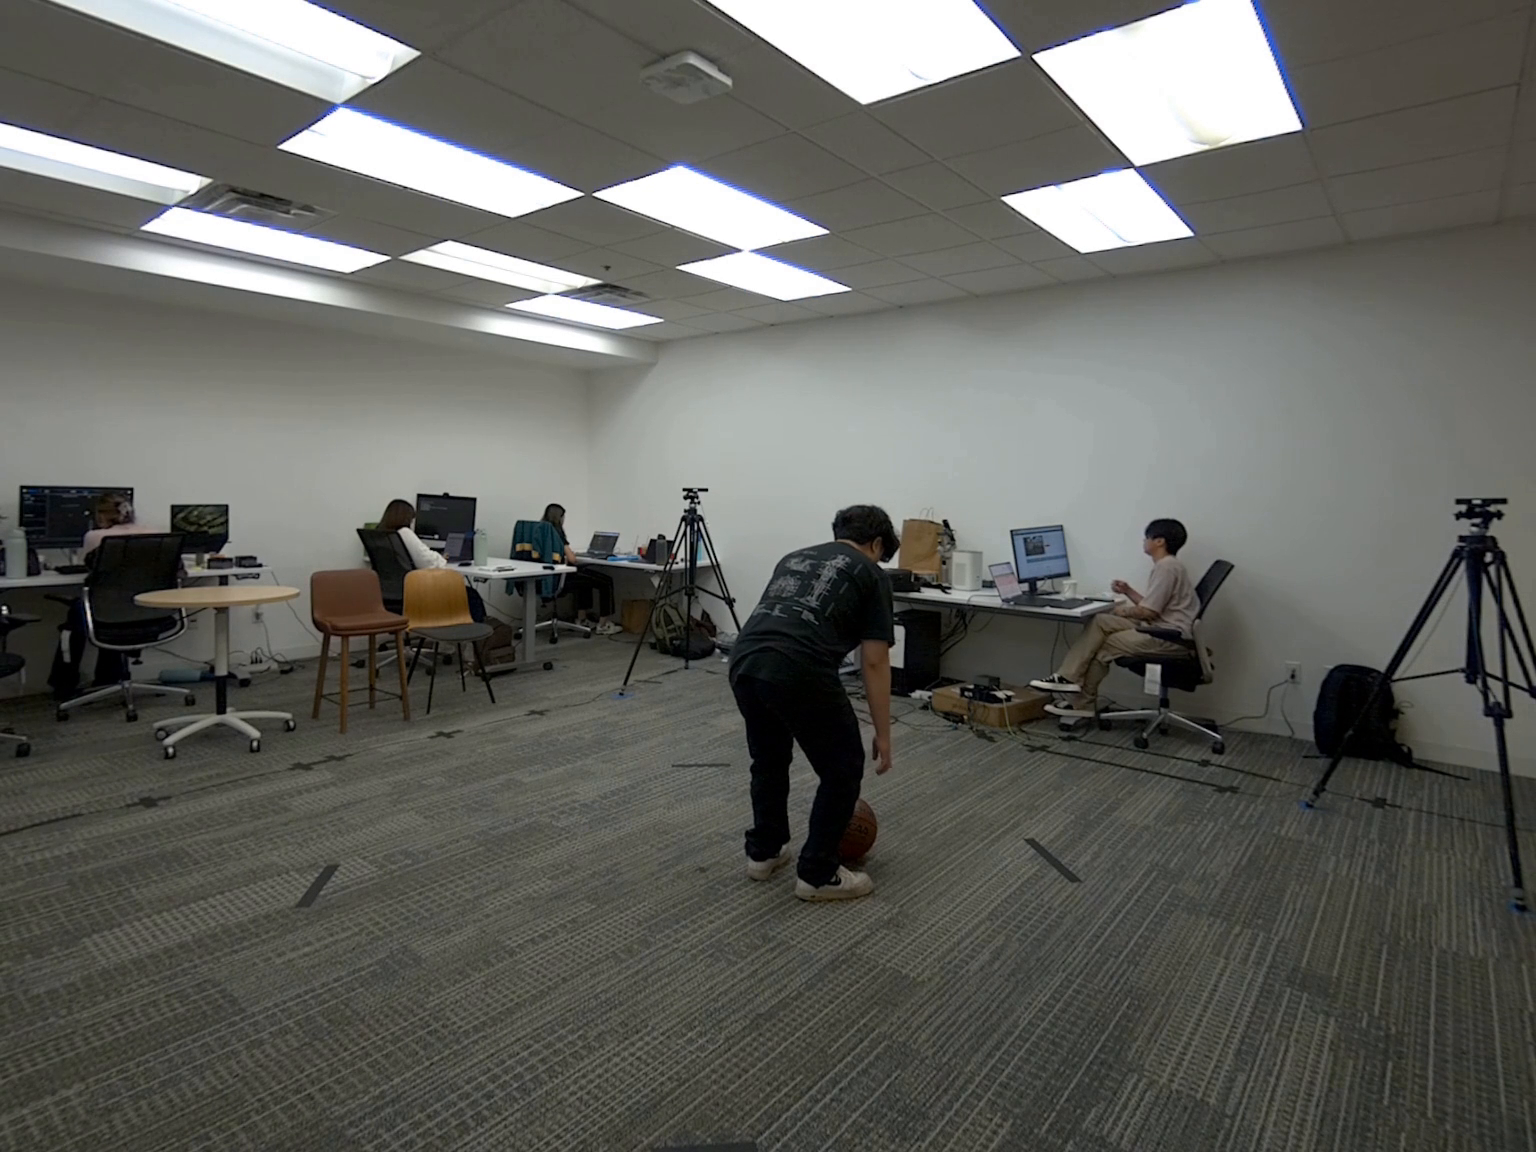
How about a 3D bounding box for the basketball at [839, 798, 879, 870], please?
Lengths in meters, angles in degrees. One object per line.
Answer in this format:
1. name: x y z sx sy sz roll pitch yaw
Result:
1. basketball: 0.292 0.948 3.241 0.235 0.235 0.237 1 4 -2
